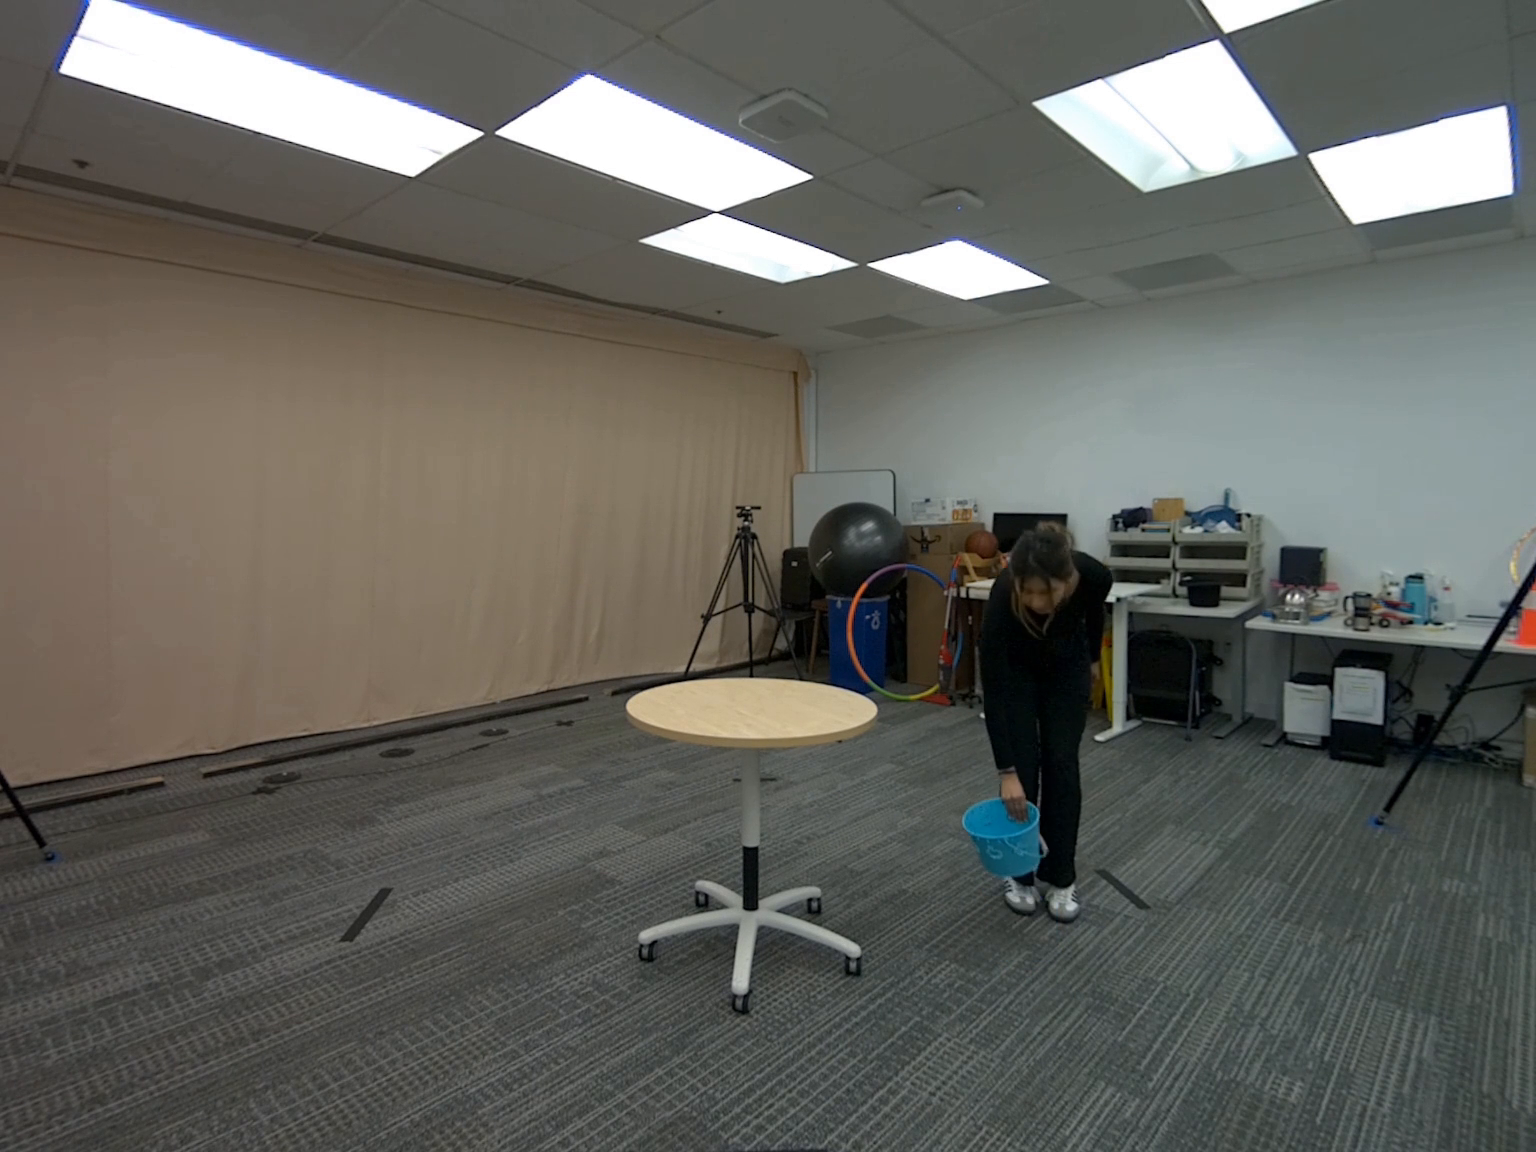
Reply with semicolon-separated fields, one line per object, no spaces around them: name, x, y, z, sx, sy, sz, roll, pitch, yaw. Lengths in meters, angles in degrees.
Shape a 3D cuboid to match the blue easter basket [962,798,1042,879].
blue easter basket;0.769;0.836;2.659;0.244;0.154;0.245;-19;12;2
